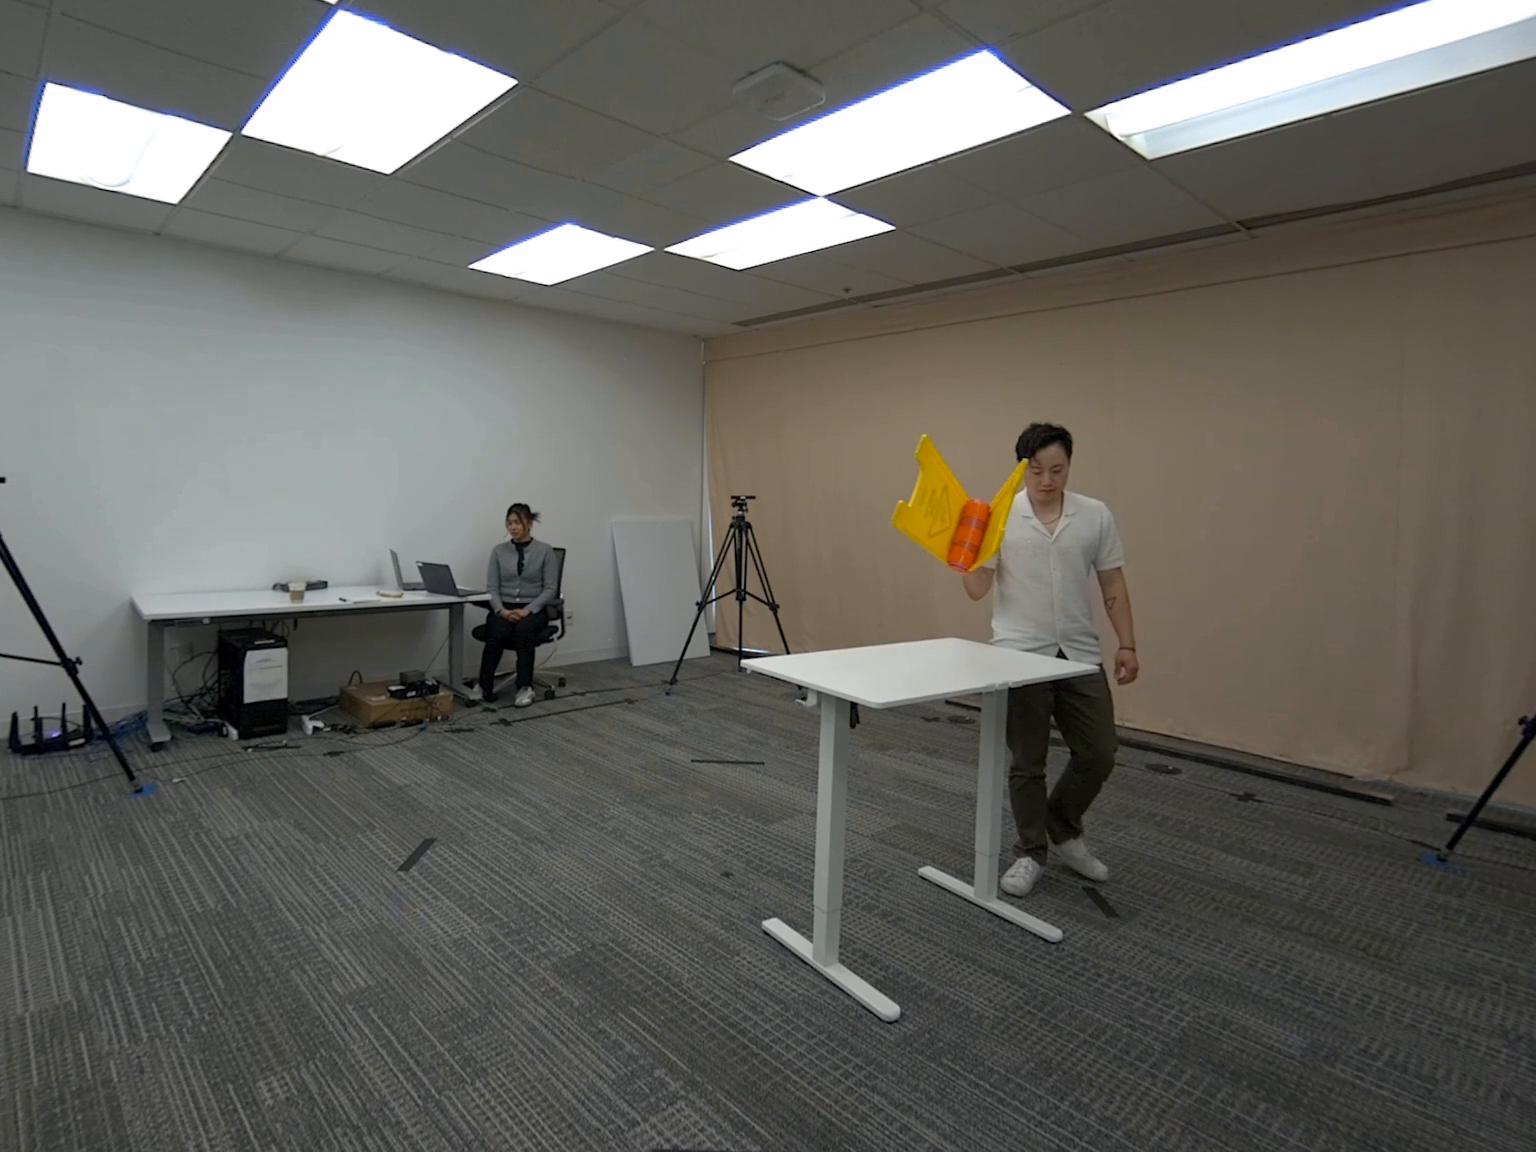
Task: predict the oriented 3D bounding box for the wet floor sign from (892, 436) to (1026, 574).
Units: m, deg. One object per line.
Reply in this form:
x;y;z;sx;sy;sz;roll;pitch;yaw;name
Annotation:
0.610;-0.160;2.612;0.295;0.283;0.631;19;-6;20;wet floor sign
